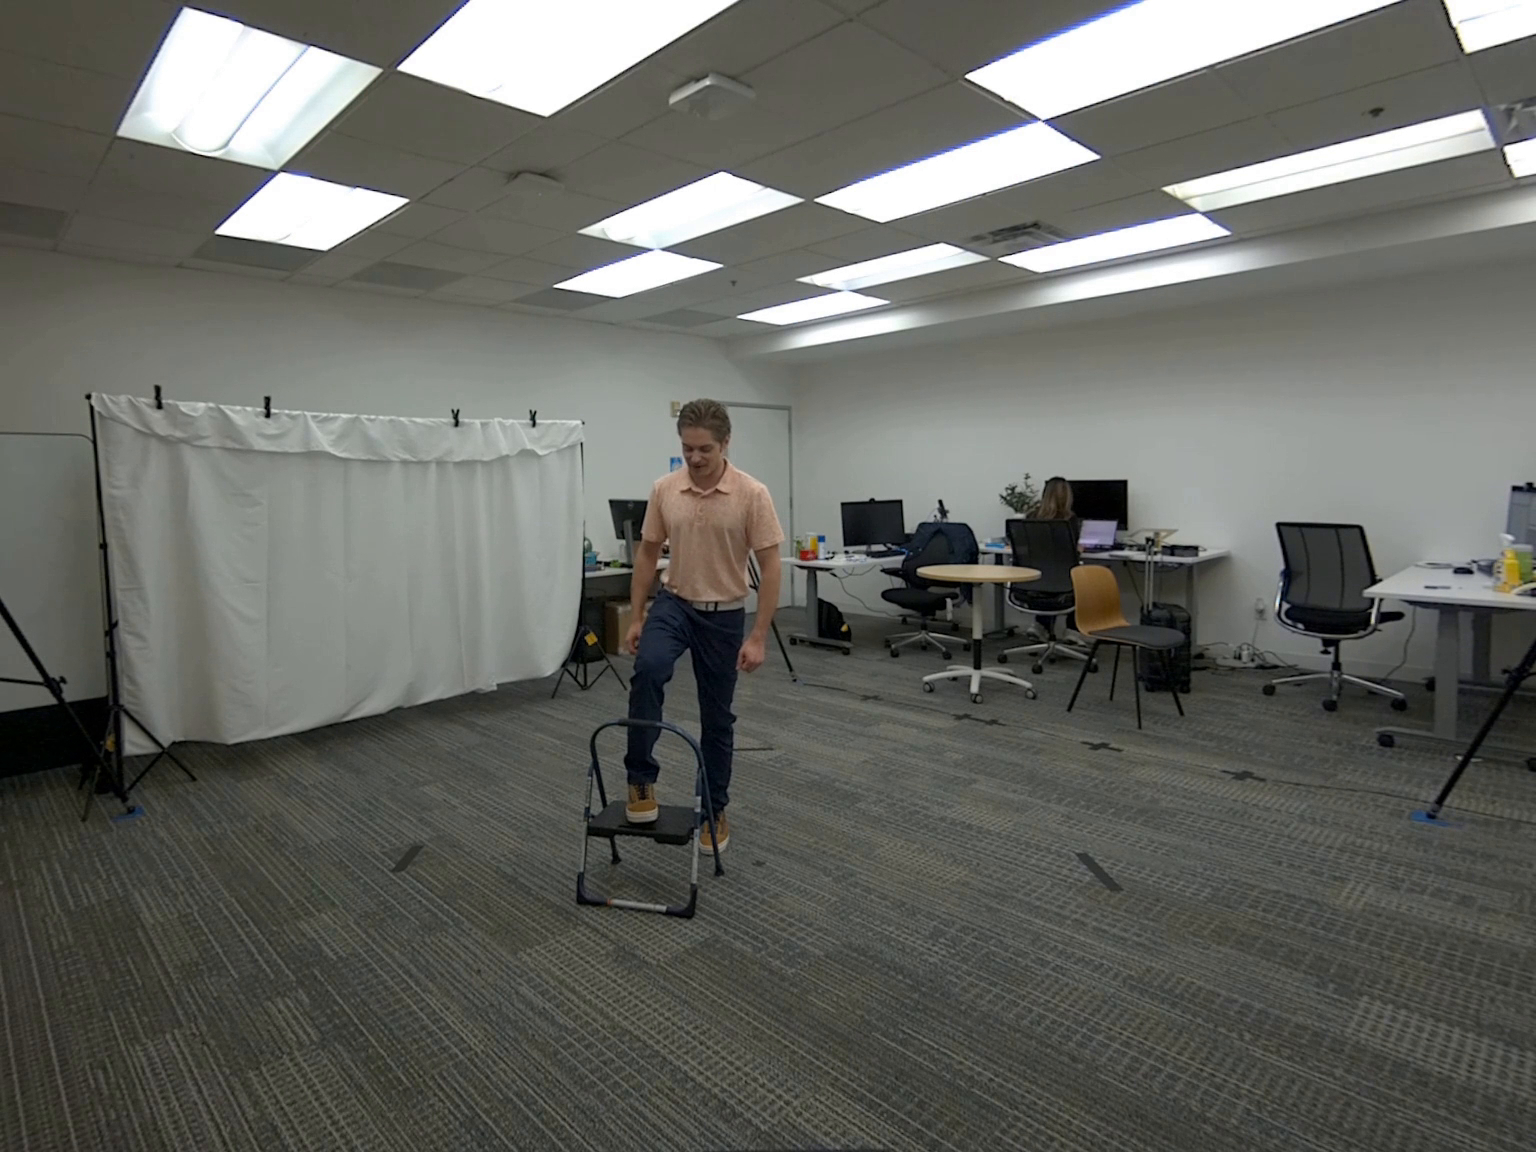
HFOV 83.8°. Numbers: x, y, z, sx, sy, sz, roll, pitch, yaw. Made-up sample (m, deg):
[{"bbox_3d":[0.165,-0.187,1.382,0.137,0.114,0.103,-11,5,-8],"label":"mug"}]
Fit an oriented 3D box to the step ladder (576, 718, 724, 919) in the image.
[{"bbox_3d":[-0.408,0.775,2.920,0.437,0.603,0.346,0,5,15],"label":"step ladder"}]
